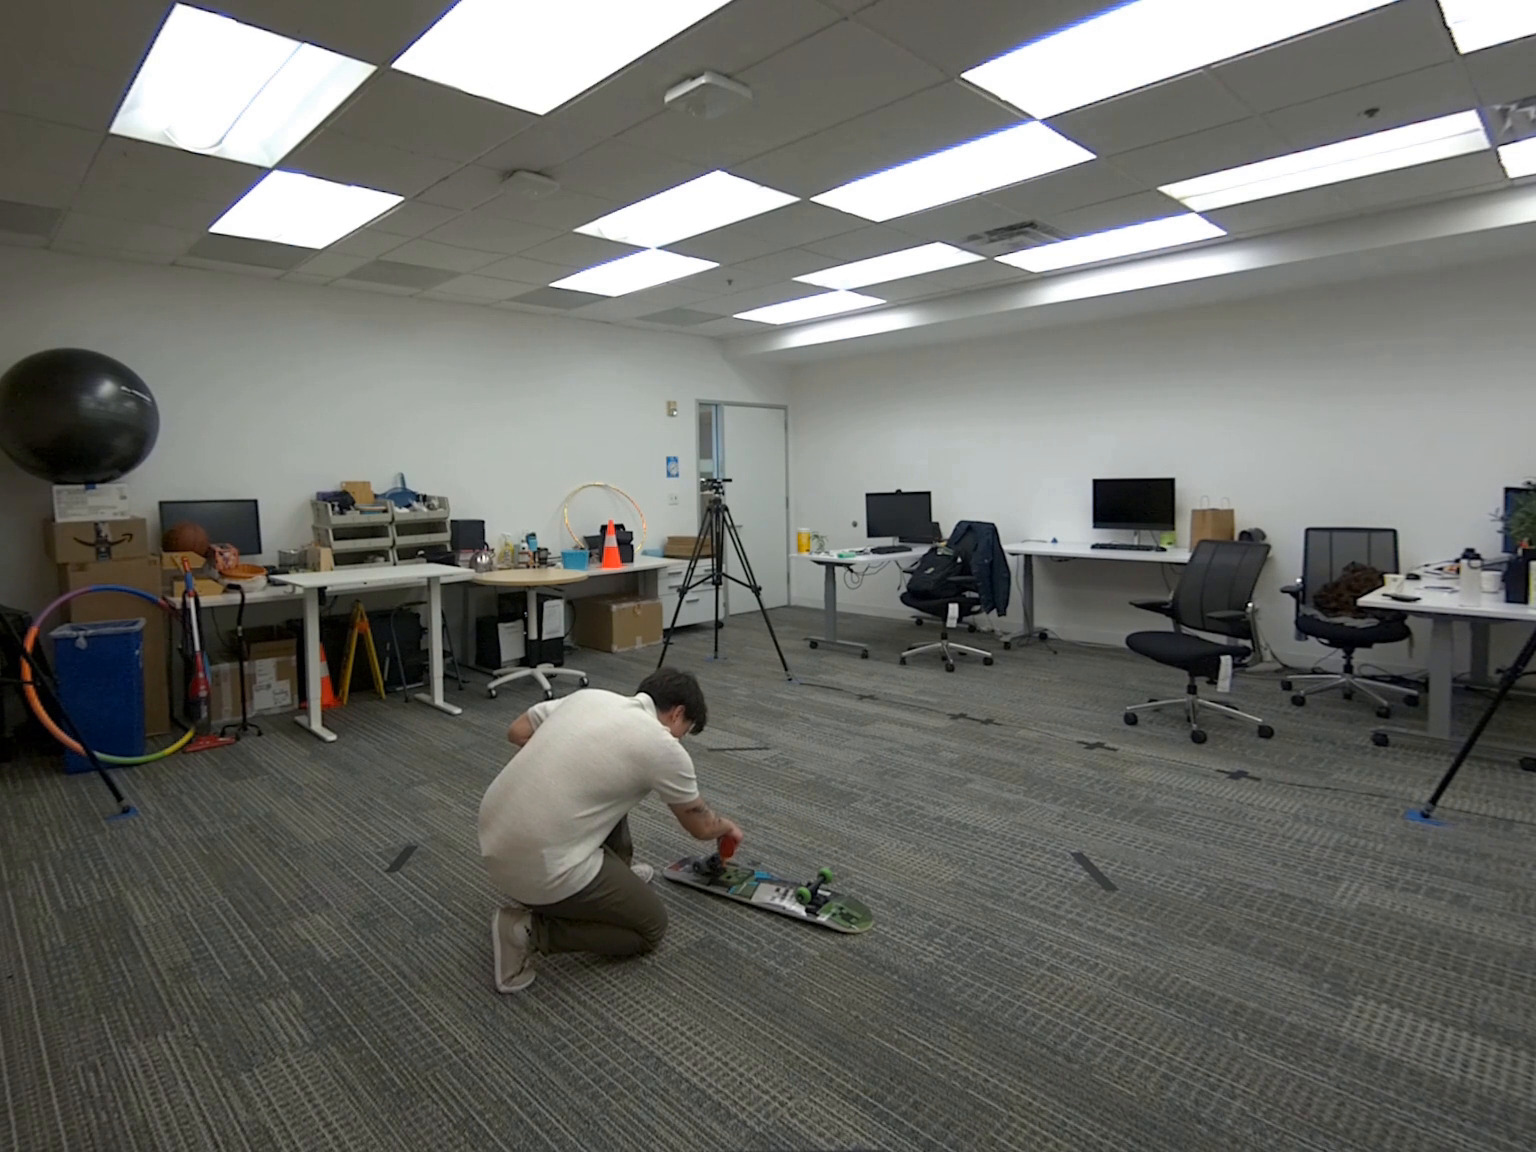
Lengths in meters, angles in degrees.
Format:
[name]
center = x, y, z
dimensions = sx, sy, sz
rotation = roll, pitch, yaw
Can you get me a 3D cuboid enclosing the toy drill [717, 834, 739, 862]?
[toy drill]
center = -0.141, 0.934, 2.921
dimensions = 0.061, 0.169, 0.147
rotation = 5, 6, -2
